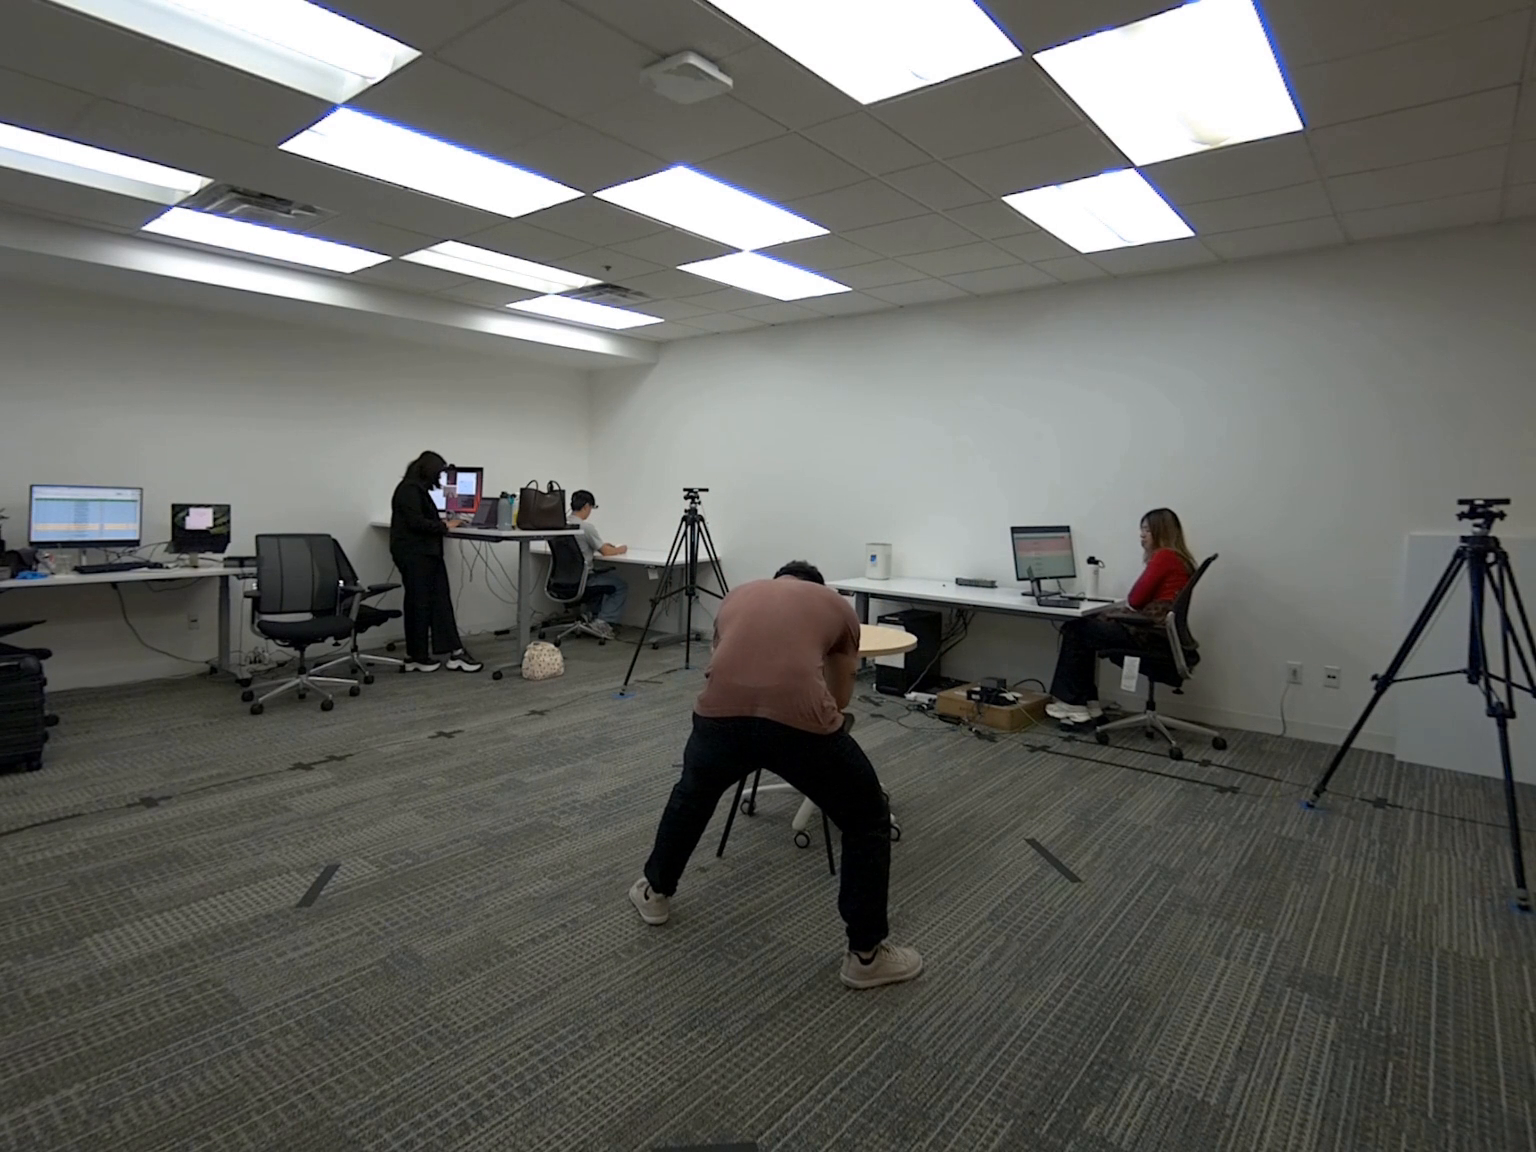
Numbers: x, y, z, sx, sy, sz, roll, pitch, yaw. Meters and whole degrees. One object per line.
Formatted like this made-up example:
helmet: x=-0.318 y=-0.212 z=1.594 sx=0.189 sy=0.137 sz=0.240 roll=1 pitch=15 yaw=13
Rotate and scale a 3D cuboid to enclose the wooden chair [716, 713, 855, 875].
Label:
wooden chair: x=0.080 y=0.622 z=3.338 sx=0.487 sy=0.872 sz=0.517 roll=2 pitch=7 yaw=16
